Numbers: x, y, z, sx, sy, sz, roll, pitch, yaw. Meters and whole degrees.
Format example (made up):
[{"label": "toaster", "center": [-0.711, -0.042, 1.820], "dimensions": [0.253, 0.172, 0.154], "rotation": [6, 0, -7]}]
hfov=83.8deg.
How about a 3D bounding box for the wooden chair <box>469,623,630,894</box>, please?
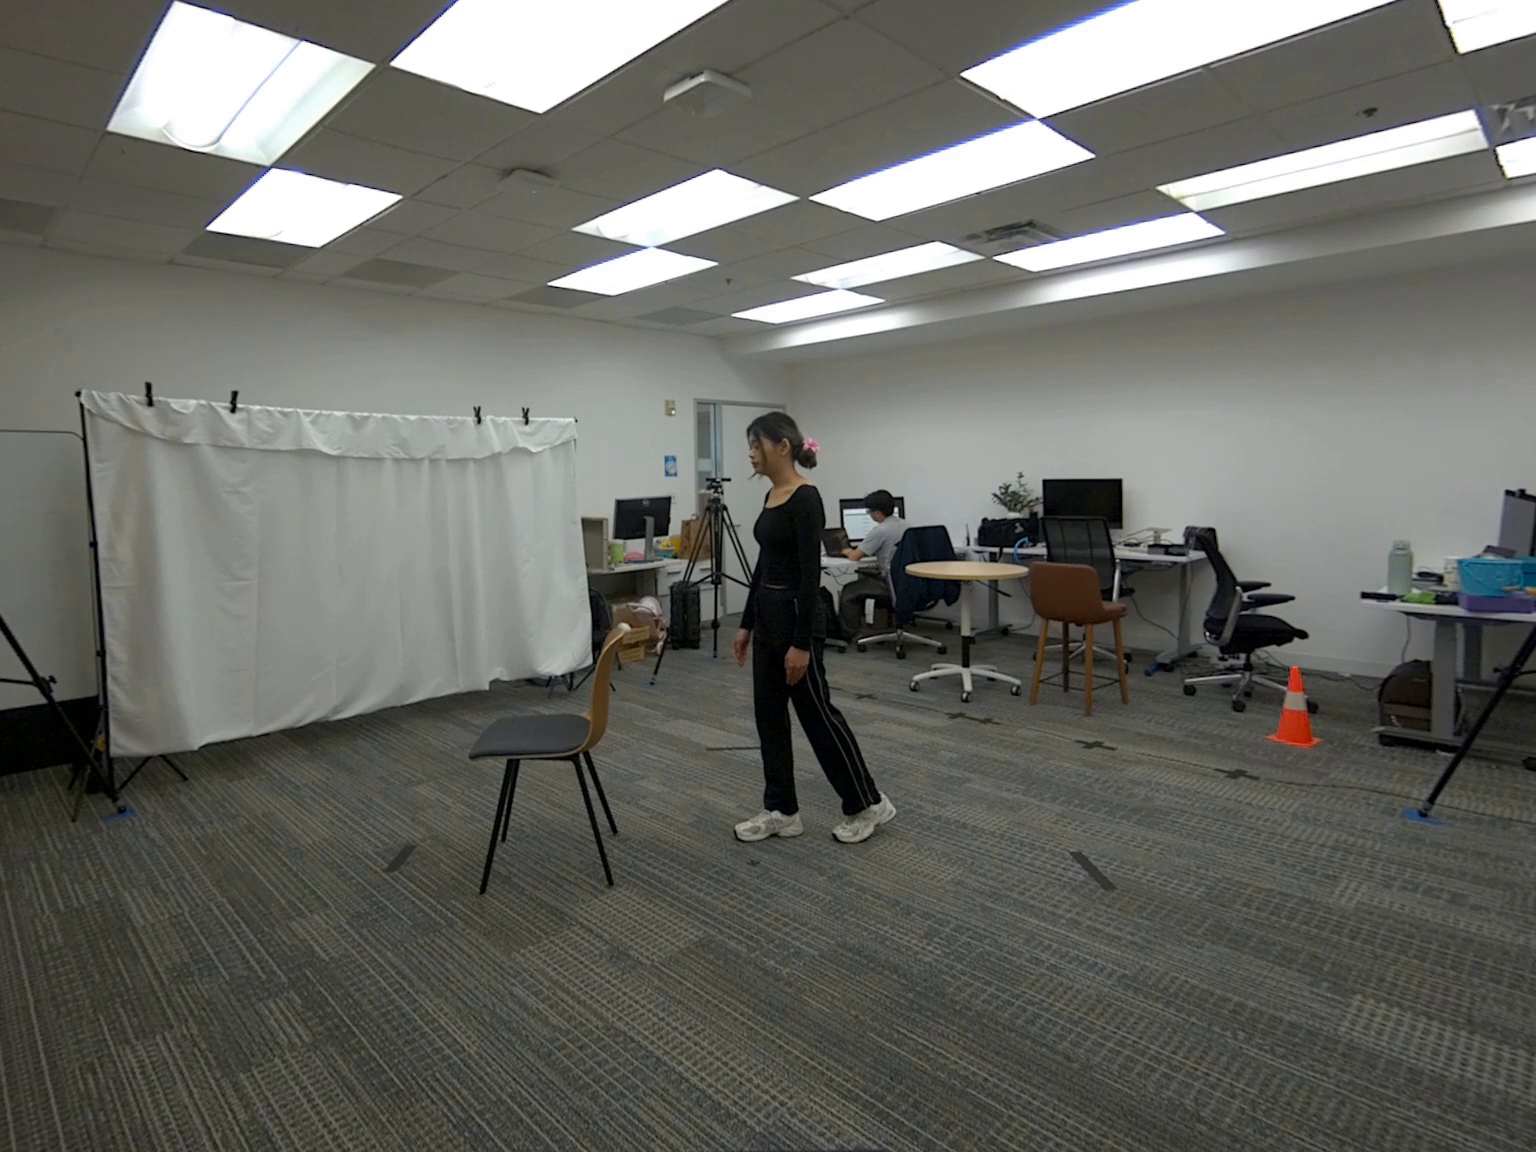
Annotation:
[{"label": "wooden chair", "center": [-0.805, 0.631, 3.112], "dimensions": [0.520, 0.874, 0.483], "rotation": [2, 4, -7]}]
